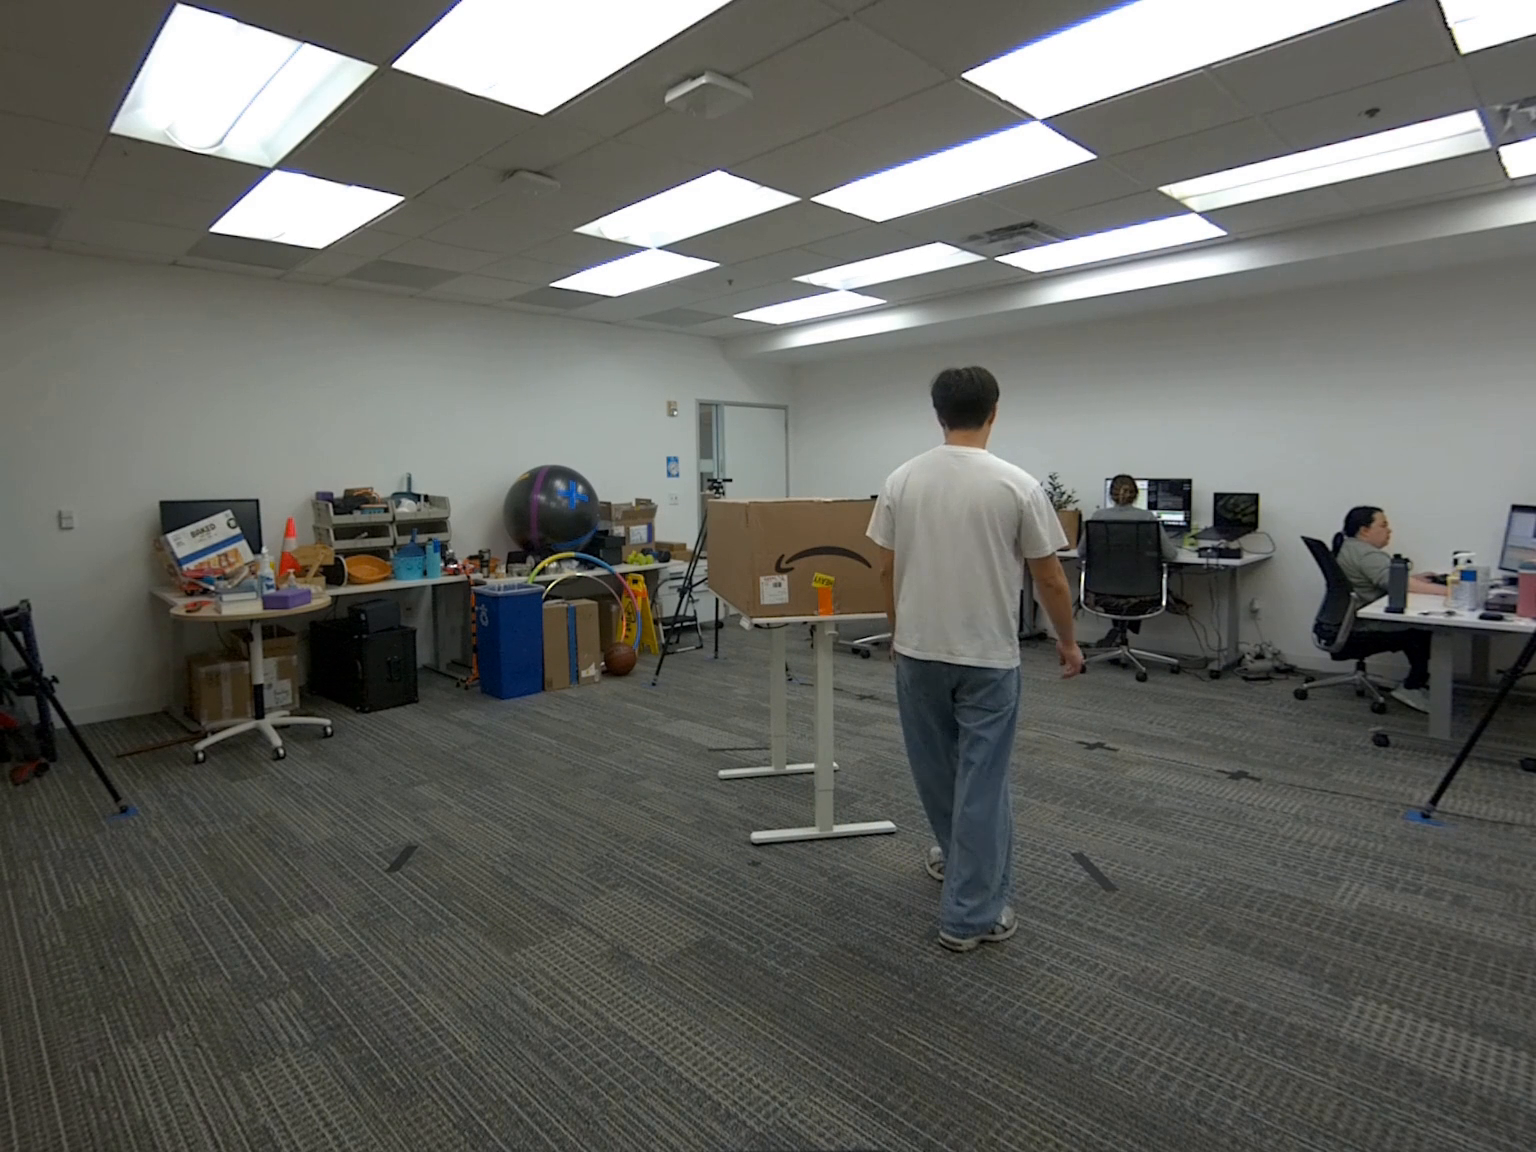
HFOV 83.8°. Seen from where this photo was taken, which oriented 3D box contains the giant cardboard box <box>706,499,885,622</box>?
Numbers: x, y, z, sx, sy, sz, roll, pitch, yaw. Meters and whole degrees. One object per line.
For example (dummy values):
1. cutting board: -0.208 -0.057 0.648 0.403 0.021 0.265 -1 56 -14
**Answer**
1. giant cardboard box: 0.096 -0.113 3.646 0.572 0.424 1.040 -3 6 -11
